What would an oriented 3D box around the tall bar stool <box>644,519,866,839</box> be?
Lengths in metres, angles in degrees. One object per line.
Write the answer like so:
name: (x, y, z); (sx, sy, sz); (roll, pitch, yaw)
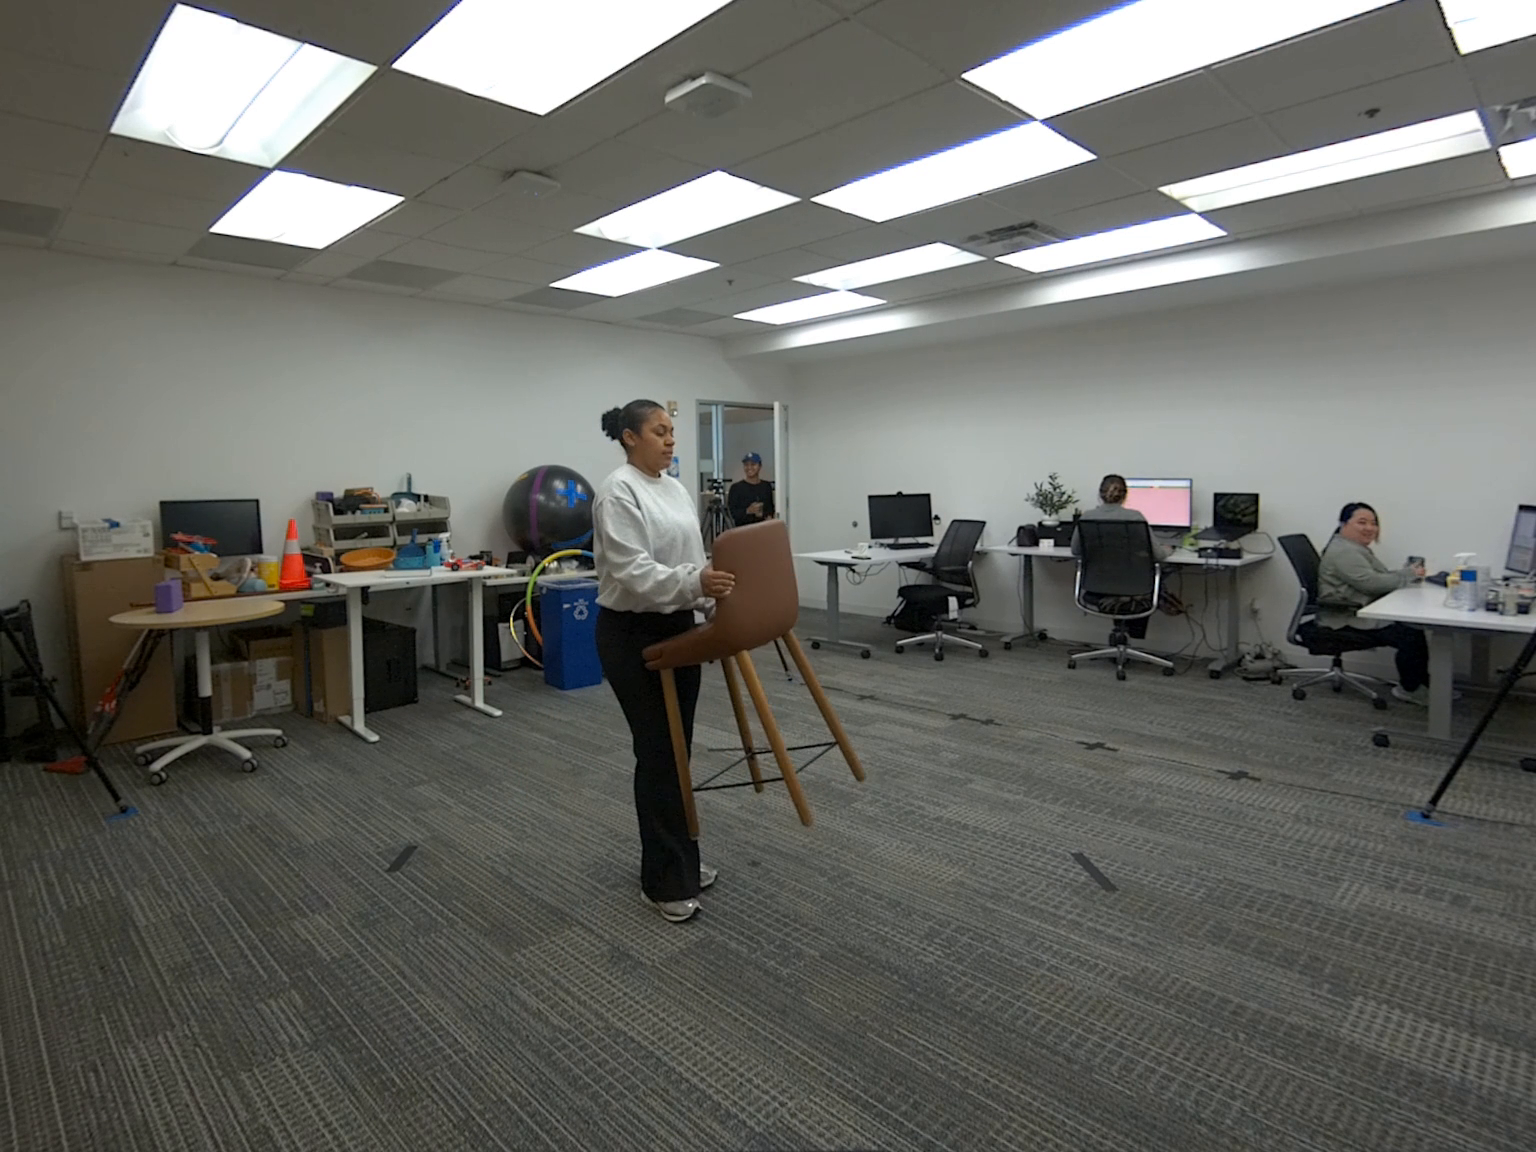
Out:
tall bar stool: (-0.082, 0.314, 2.710); (0.476, 0.891, 0.447); (-17, -1, 35)
